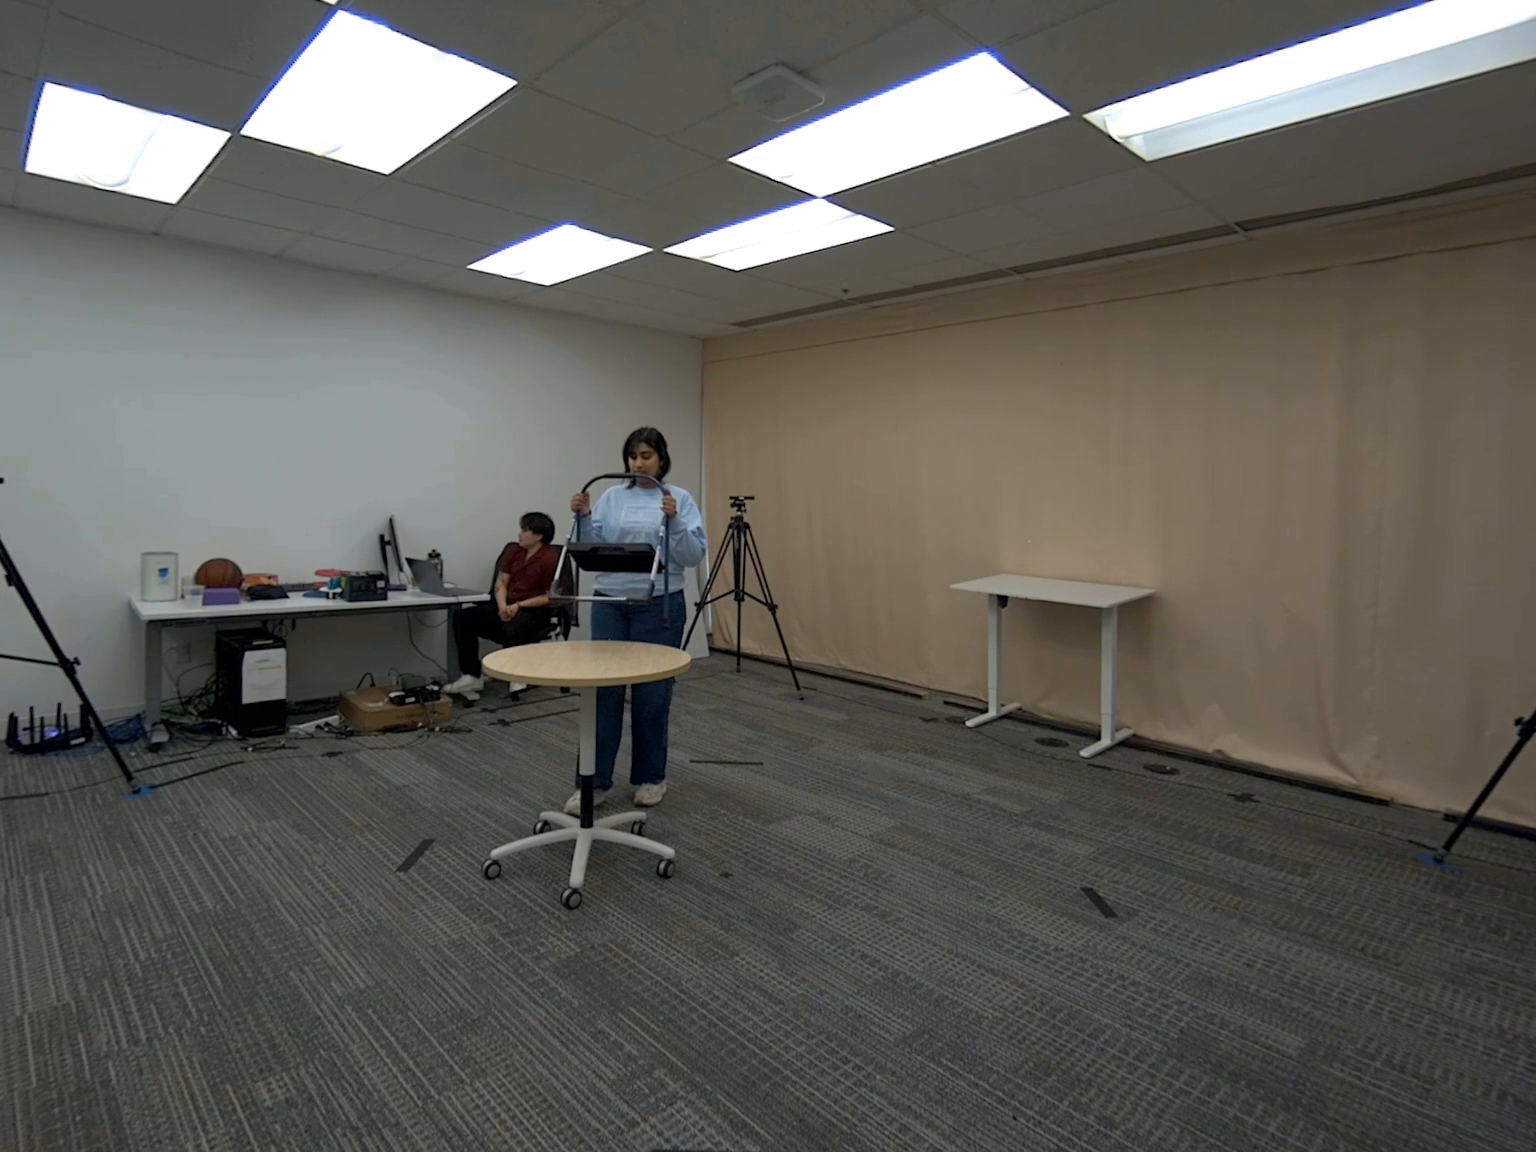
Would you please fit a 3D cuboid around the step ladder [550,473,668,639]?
[{"bbox_3d":[-0.628,-0.121,3.527,0.434,0.614,0.342,2,-21,8],"label":"step ladder"}]
